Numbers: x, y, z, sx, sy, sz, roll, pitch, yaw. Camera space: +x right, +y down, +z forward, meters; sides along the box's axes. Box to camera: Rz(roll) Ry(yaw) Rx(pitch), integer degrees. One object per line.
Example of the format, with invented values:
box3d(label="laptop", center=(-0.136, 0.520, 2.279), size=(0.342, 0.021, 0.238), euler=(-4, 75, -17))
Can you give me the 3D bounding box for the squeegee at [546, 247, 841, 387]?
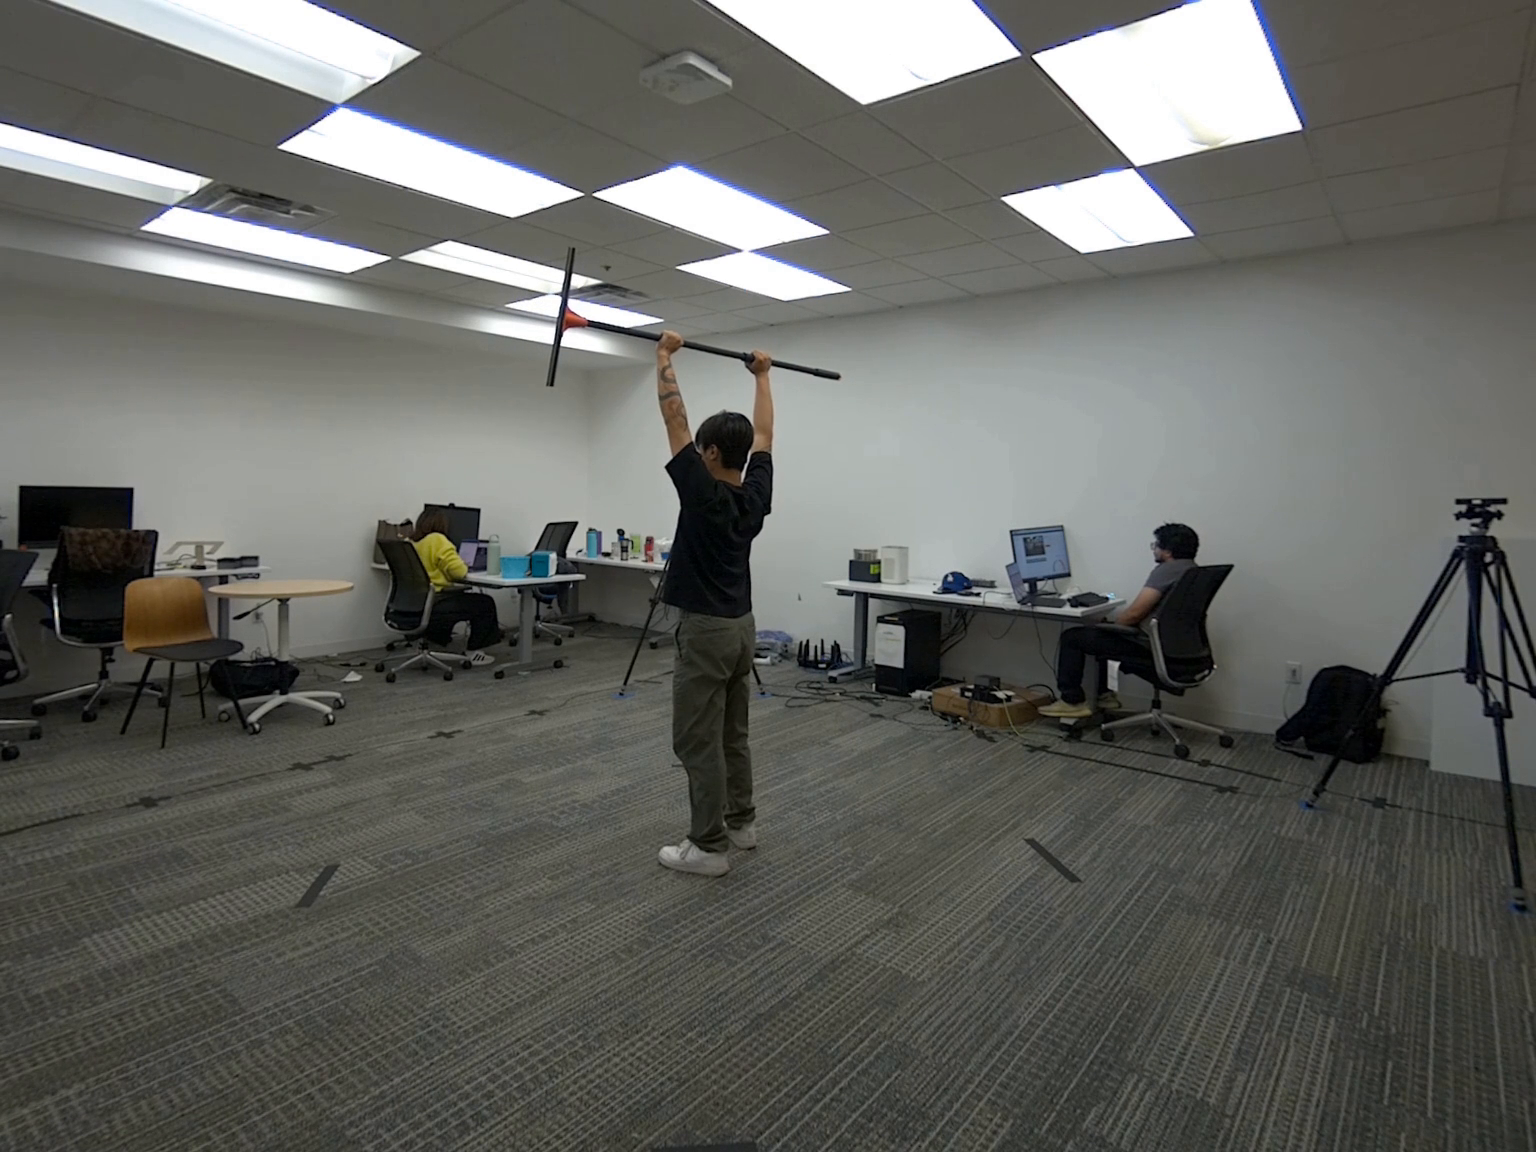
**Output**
box3d(label="squeegee", center=(-0.193, -0.847, 3.220), size=(0.055, 0.434, 1.491), euler=(17, 13, 39))
